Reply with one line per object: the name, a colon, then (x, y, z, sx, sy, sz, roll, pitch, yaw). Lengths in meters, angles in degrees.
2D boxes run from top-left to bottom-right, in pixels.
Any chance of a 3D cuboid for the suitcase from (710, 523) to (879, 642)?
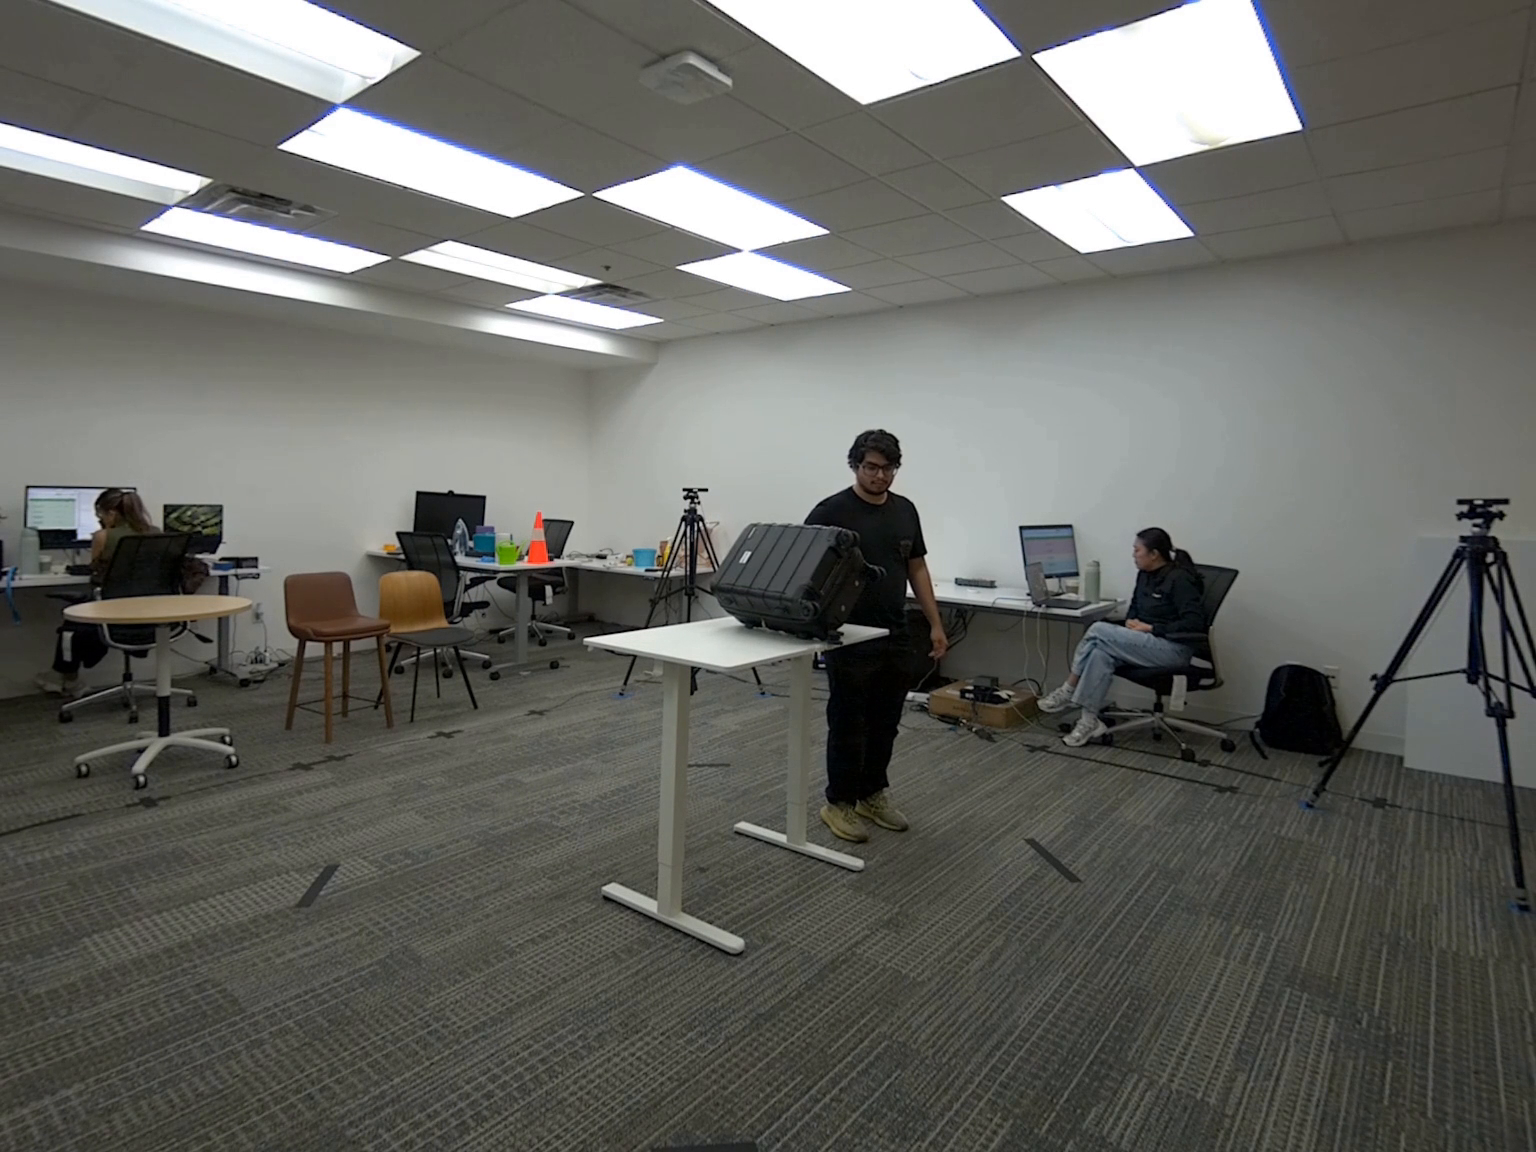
suitcase: (0.075, 0.005, 3.033, 0.569, 0.377, 0.238, 8, -31, 46)
